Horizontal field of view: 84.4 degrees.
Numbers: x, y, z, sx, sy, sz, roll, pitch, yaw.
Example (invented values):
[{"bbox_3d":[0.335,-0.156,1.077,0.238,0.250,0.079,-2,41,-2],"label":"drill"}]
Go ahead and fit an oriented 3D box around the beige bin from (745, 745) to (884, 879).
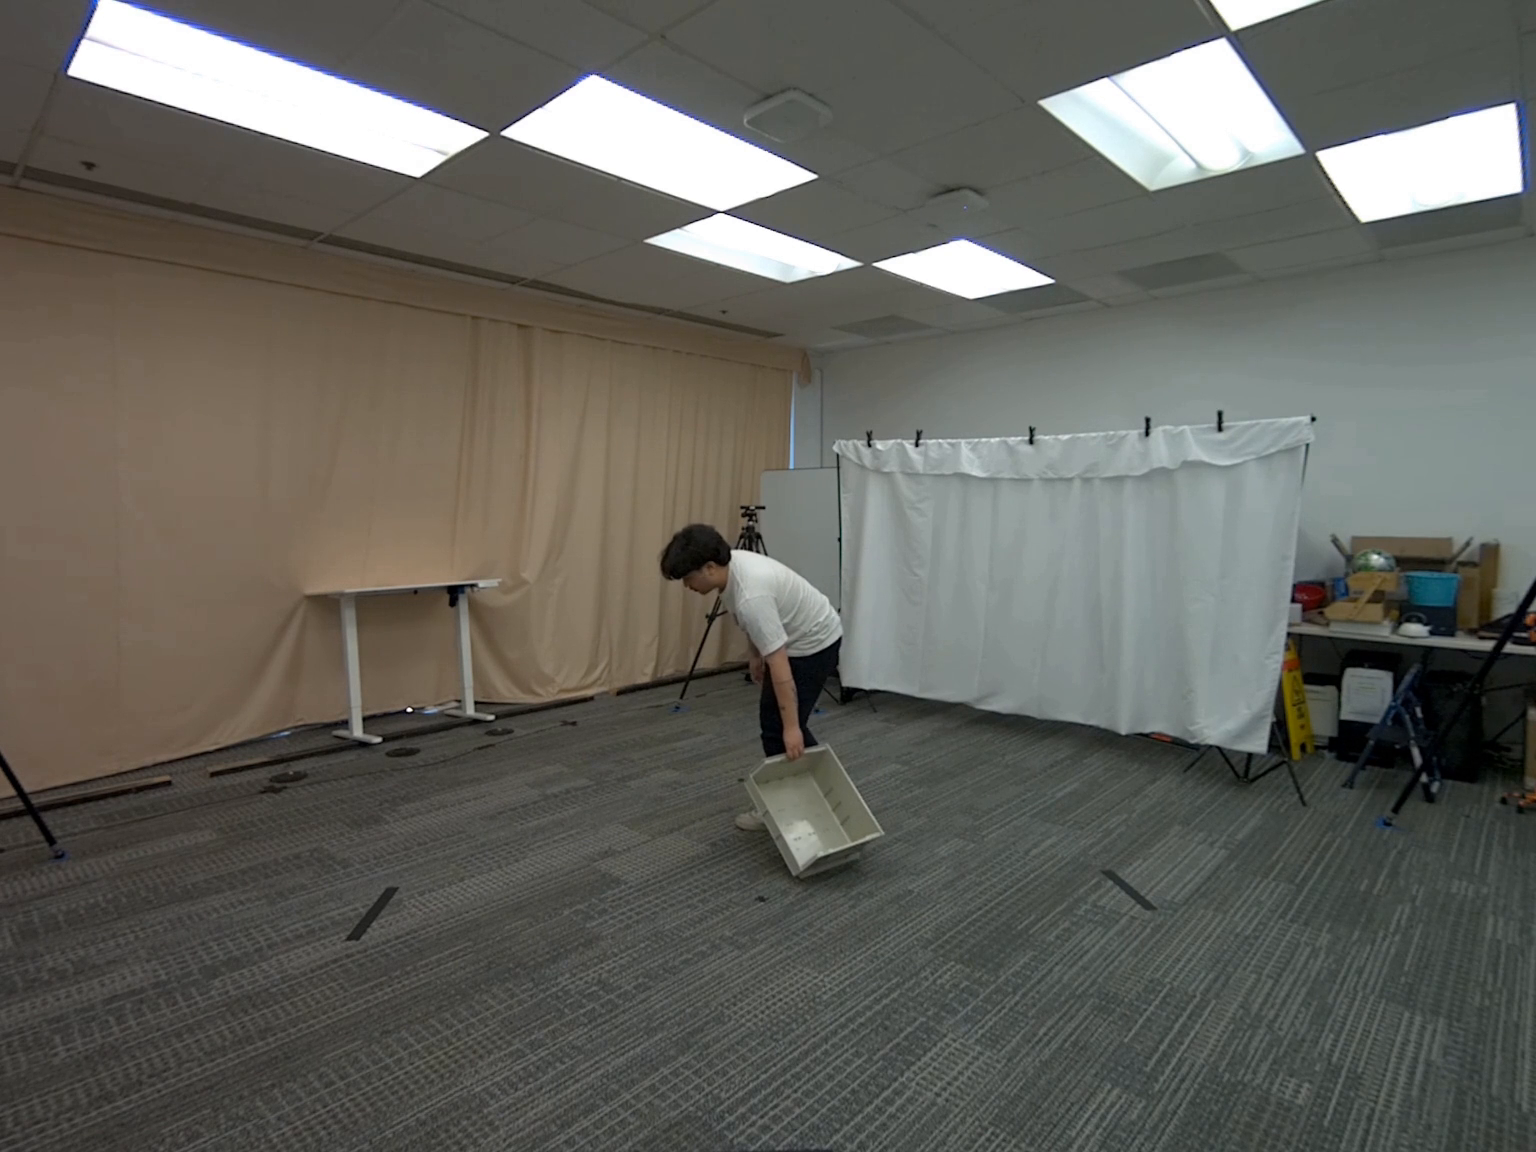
[{"bbox_3d":[0.169,0.914,3.287,0.366,0.189,0.436,-3,45,-39],"label":"beige bin"}]
